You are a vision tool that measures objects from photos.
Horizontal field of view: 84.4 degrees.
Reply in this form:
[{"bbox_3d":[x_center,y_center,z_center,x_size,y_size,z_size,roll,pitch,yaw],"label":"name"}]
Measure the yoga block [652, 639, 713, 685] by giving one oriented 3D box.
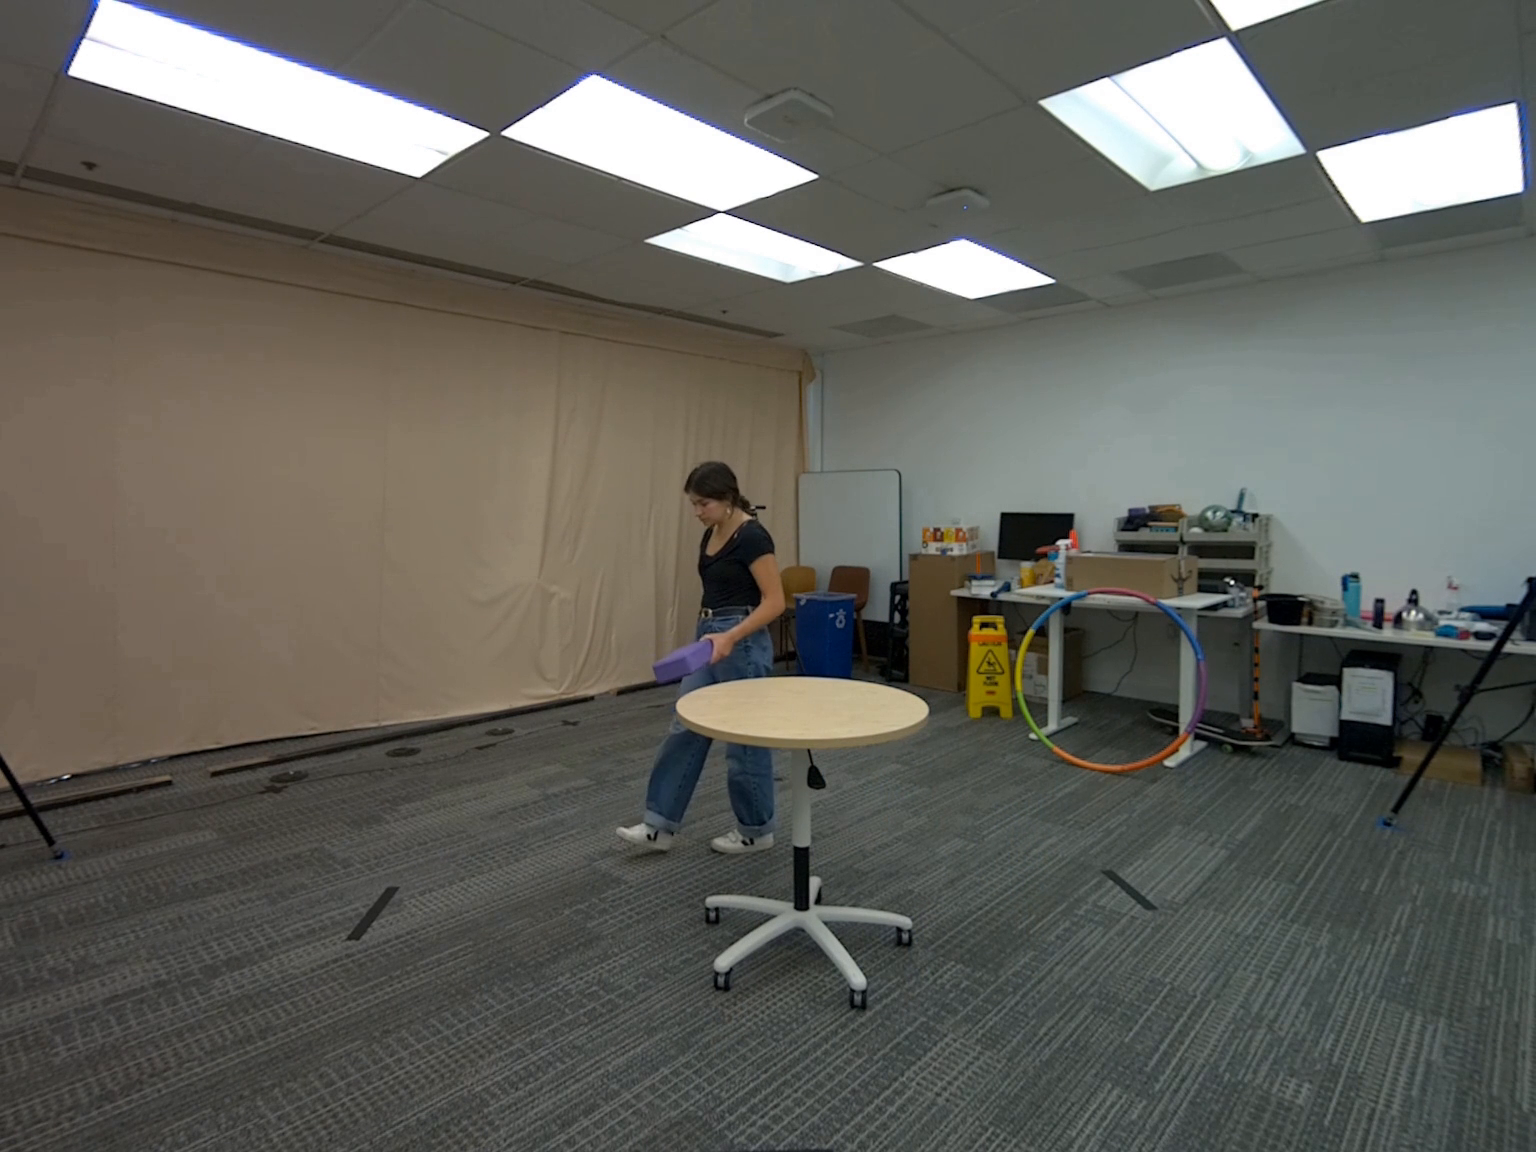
[{"bbox_3d":[-0.303,0.306,3.042,0.152,0.076,0.225,-18,5,25],"label":"yoga block"}]
